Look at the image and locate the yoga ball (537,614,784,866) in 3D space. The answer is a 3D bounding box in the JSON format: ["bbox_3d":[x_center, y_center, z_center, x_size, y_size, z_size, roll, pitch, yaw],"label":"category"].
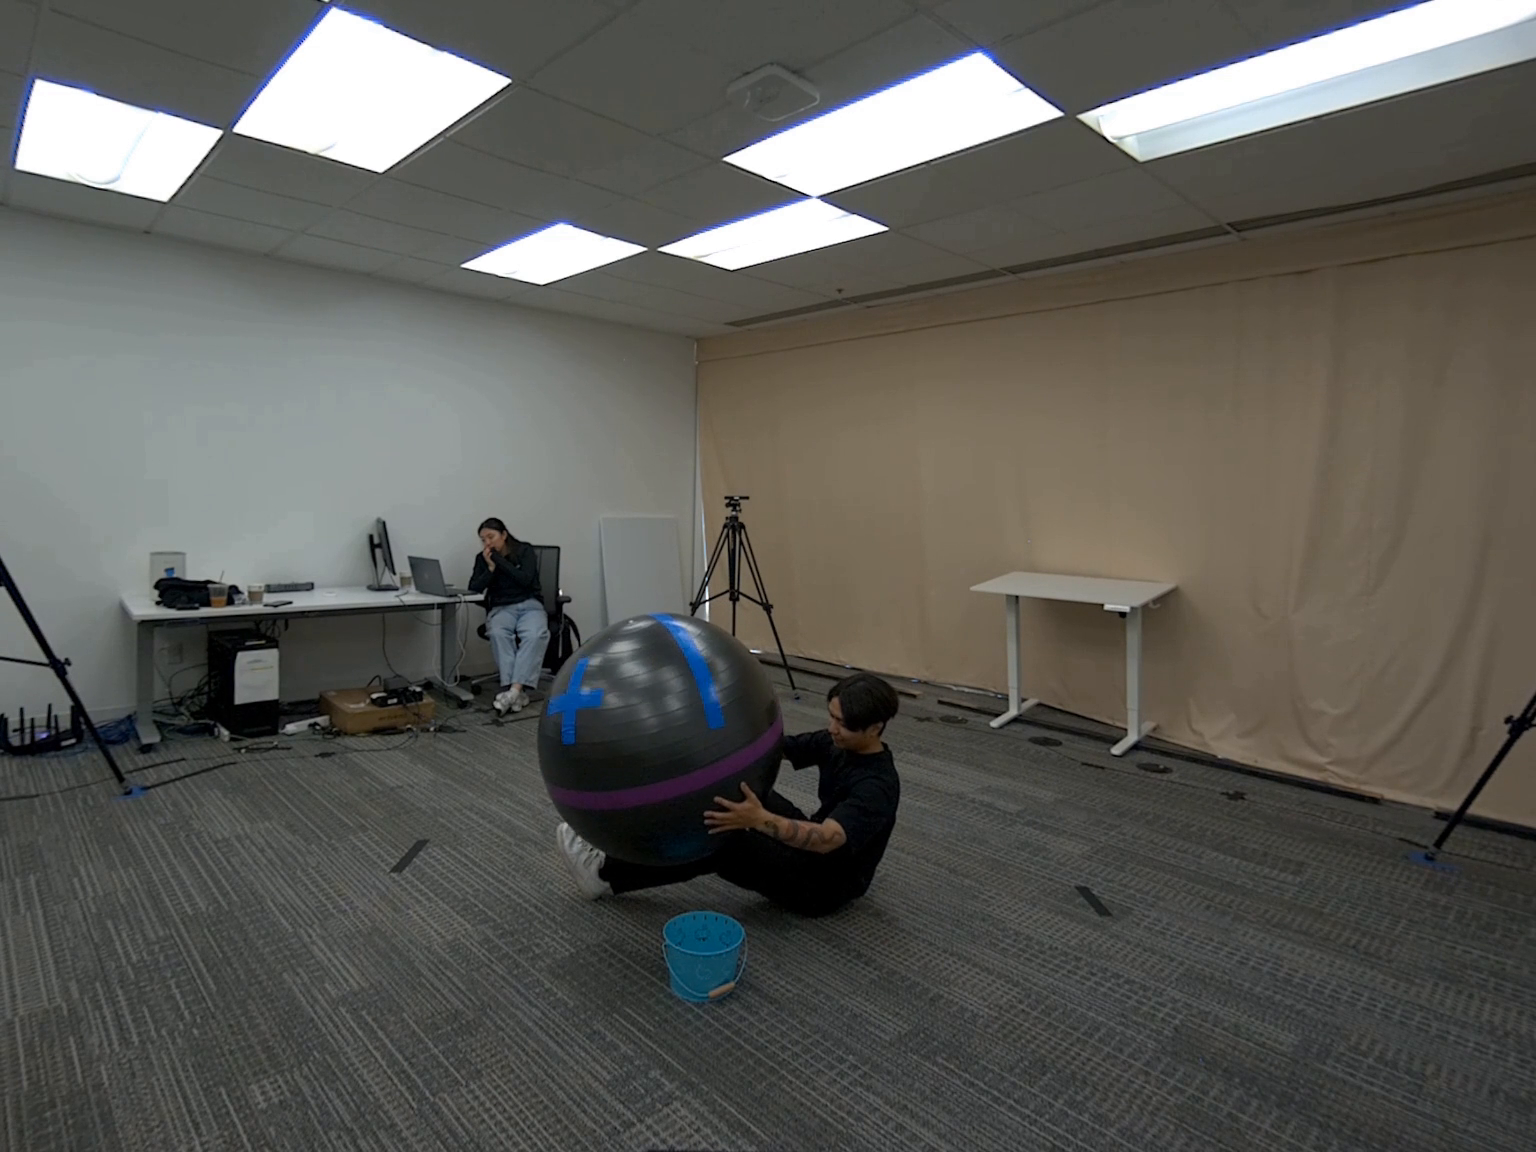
[{"bbox_3d":[-0.344,0.513,2.625,0.757,0.756,0.761,1,4,-1],"label":"yoga ball"}]
